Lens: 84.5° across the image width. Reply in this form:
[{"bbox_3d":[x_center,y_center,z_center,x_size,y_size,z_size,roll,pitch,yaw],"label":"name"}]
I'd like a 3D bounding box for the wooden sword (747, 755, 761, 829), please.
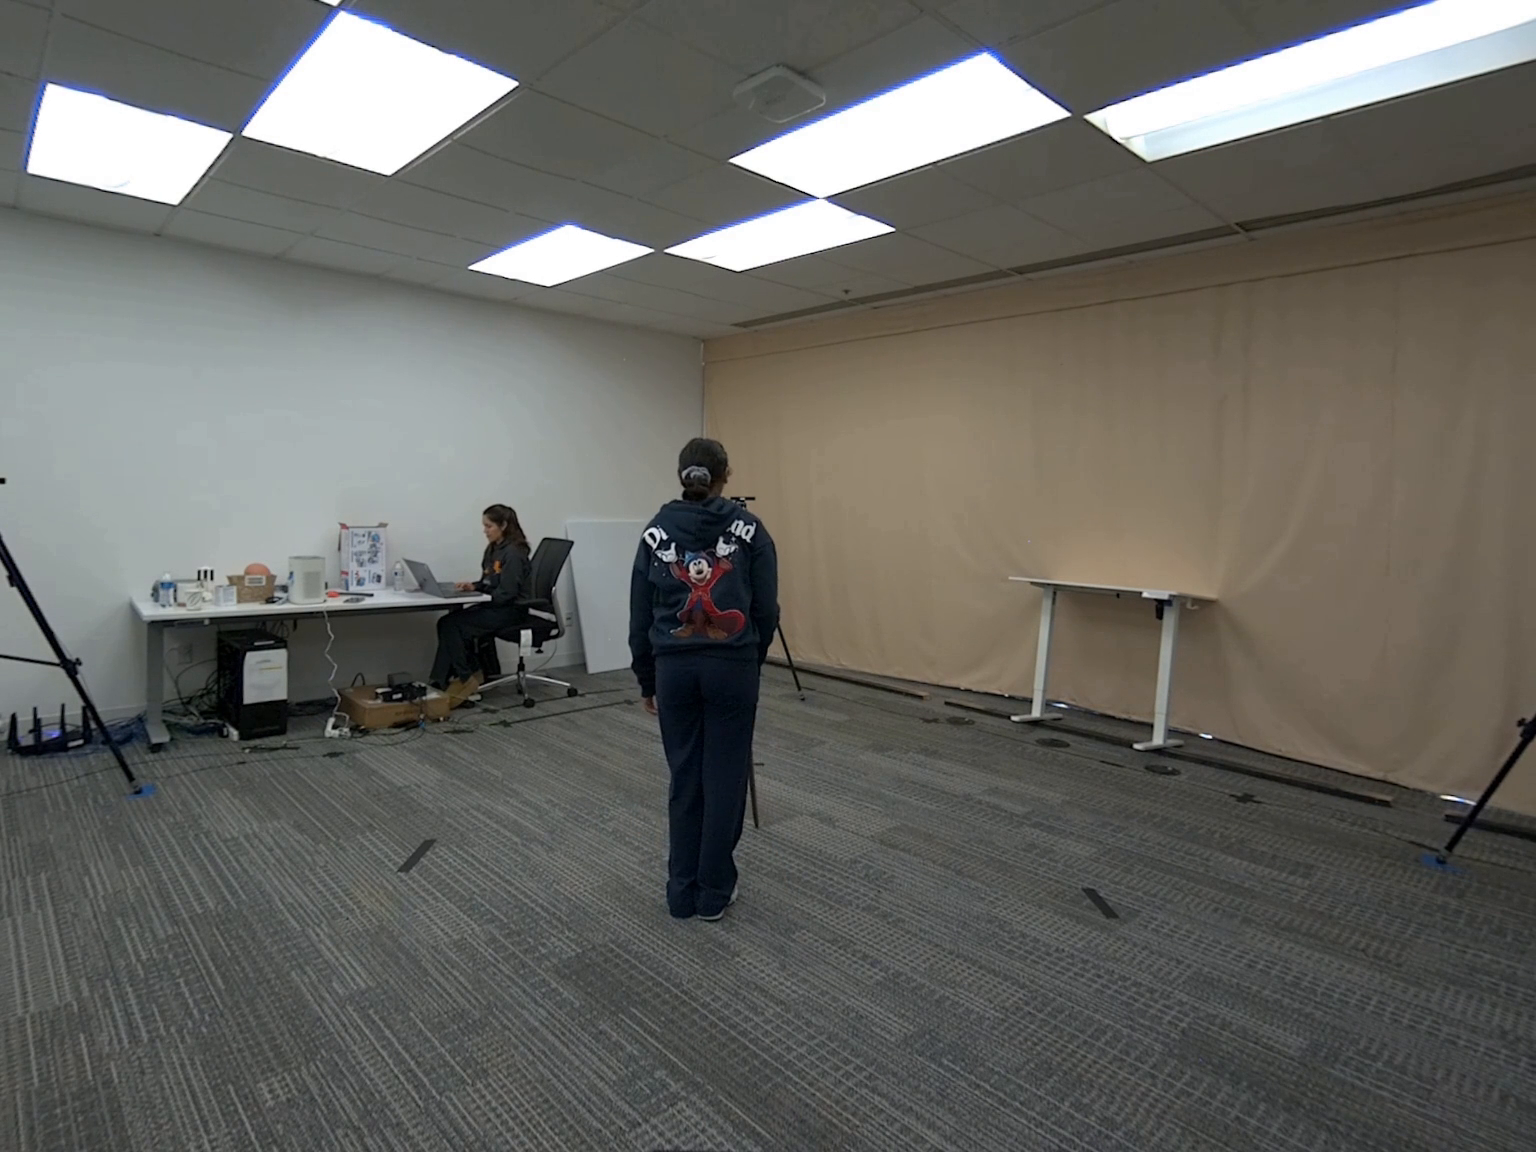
[{"bbox_3d":[-0.078,0.727,3.248,0.024,1.001,0.052,0,45,2],"label":"wooden sword"}]
